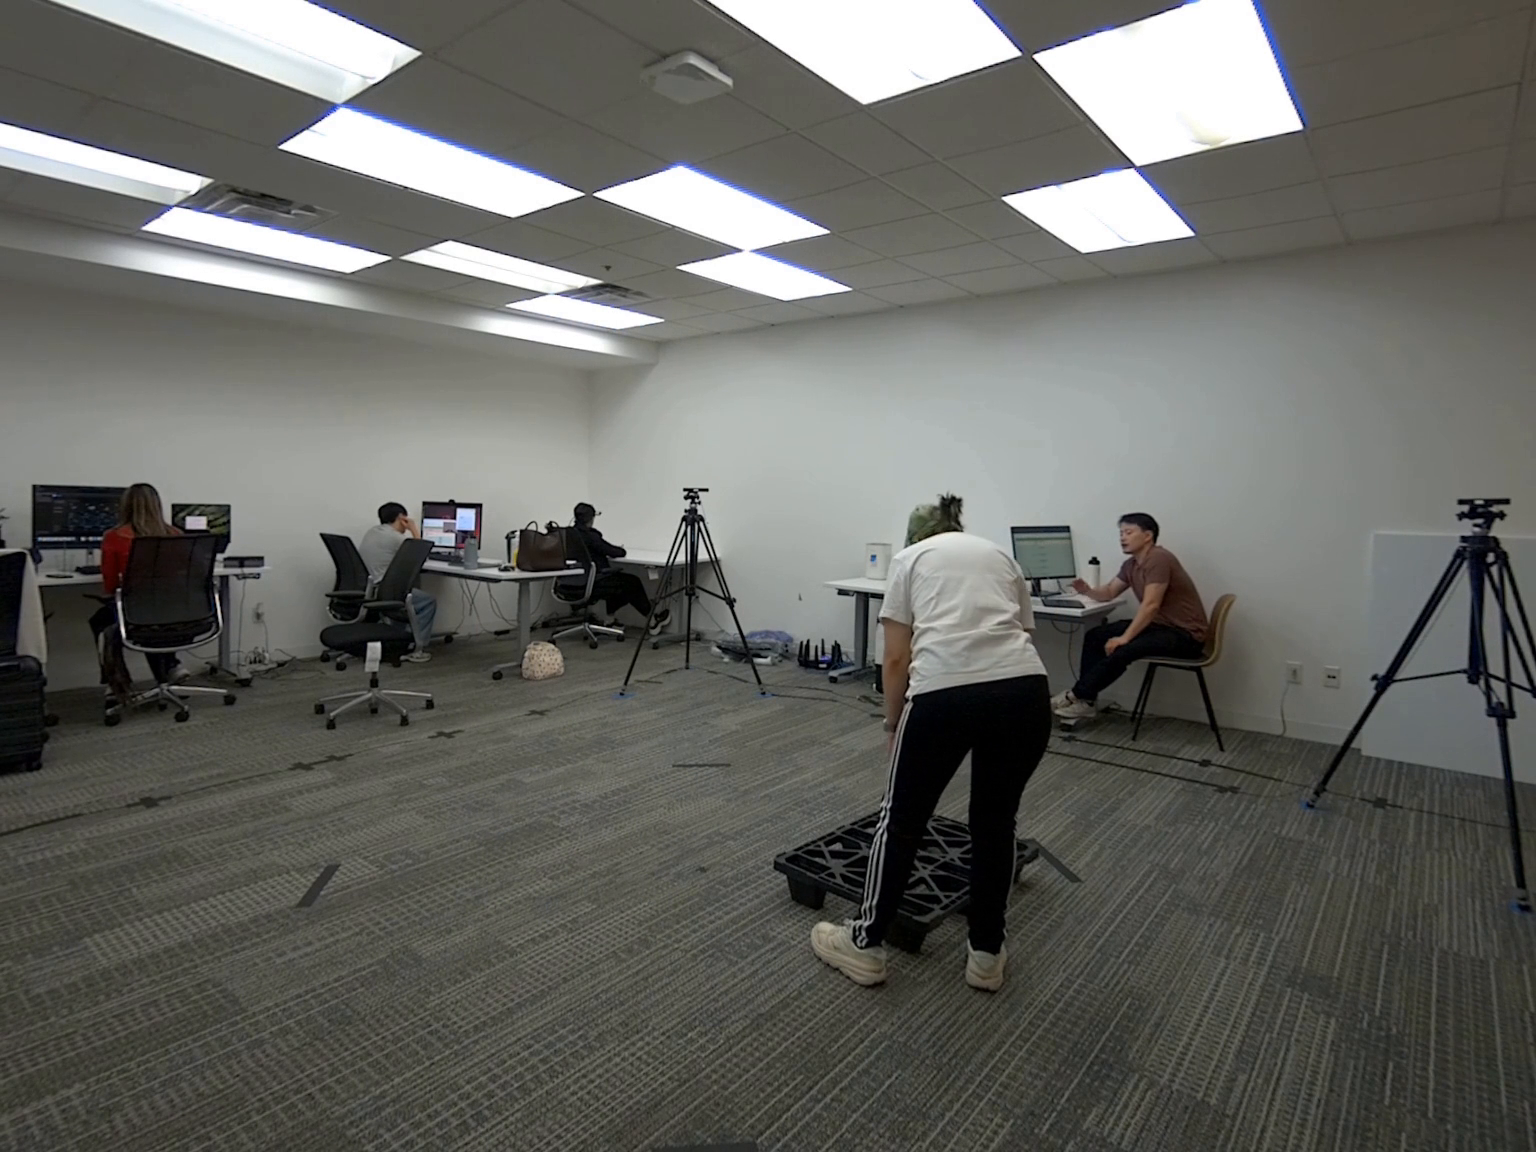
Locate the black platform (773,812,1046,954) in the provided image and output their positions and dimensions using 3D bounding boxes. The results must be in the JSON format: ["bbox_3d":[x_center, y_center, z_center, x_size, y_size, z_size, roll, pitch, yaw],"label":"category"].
[{"bbox_3d":[0.486,1.030,2.985,0.626,0.143,0.781,6,7,42],"label":"black platform"}]
